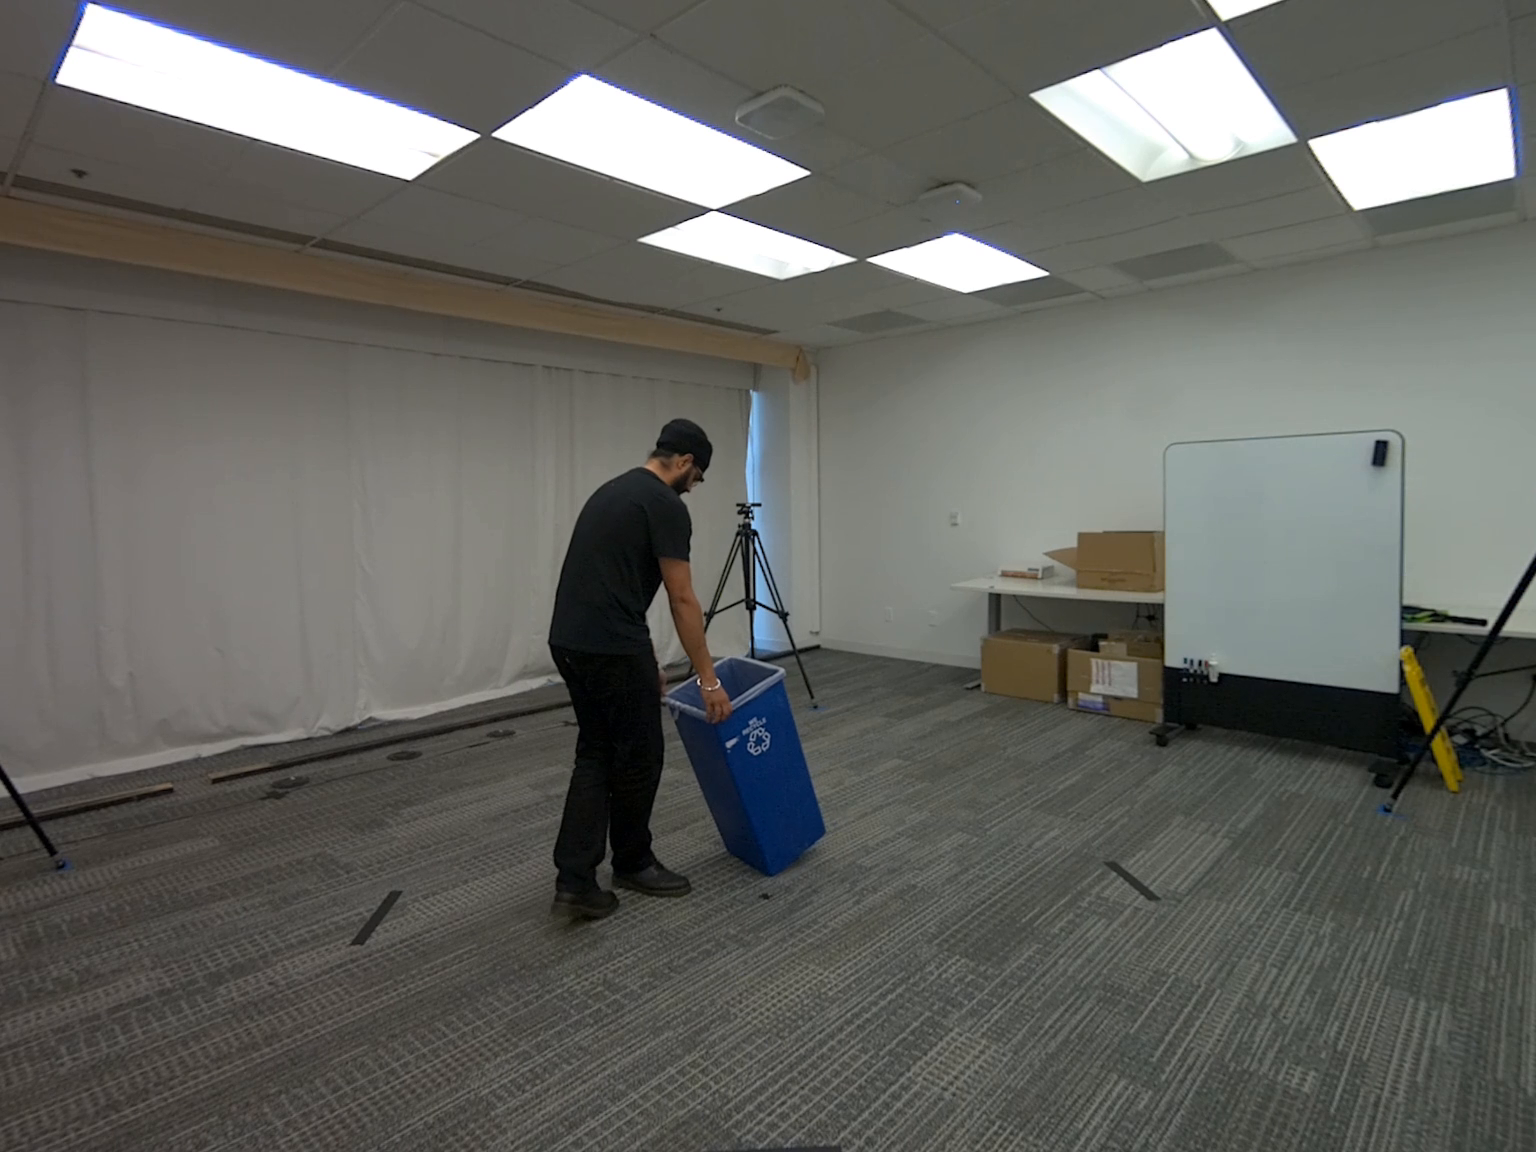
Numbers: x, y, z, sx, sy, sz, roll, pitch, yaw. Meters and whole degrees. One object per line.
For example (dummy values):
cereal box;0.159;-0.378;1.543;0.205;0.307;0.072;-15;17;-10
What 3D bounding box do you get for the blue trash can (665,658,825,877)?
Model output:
blue trash can;-0.073;0.730;3.226;0.367;0.704;0.390;-27;18;-32
